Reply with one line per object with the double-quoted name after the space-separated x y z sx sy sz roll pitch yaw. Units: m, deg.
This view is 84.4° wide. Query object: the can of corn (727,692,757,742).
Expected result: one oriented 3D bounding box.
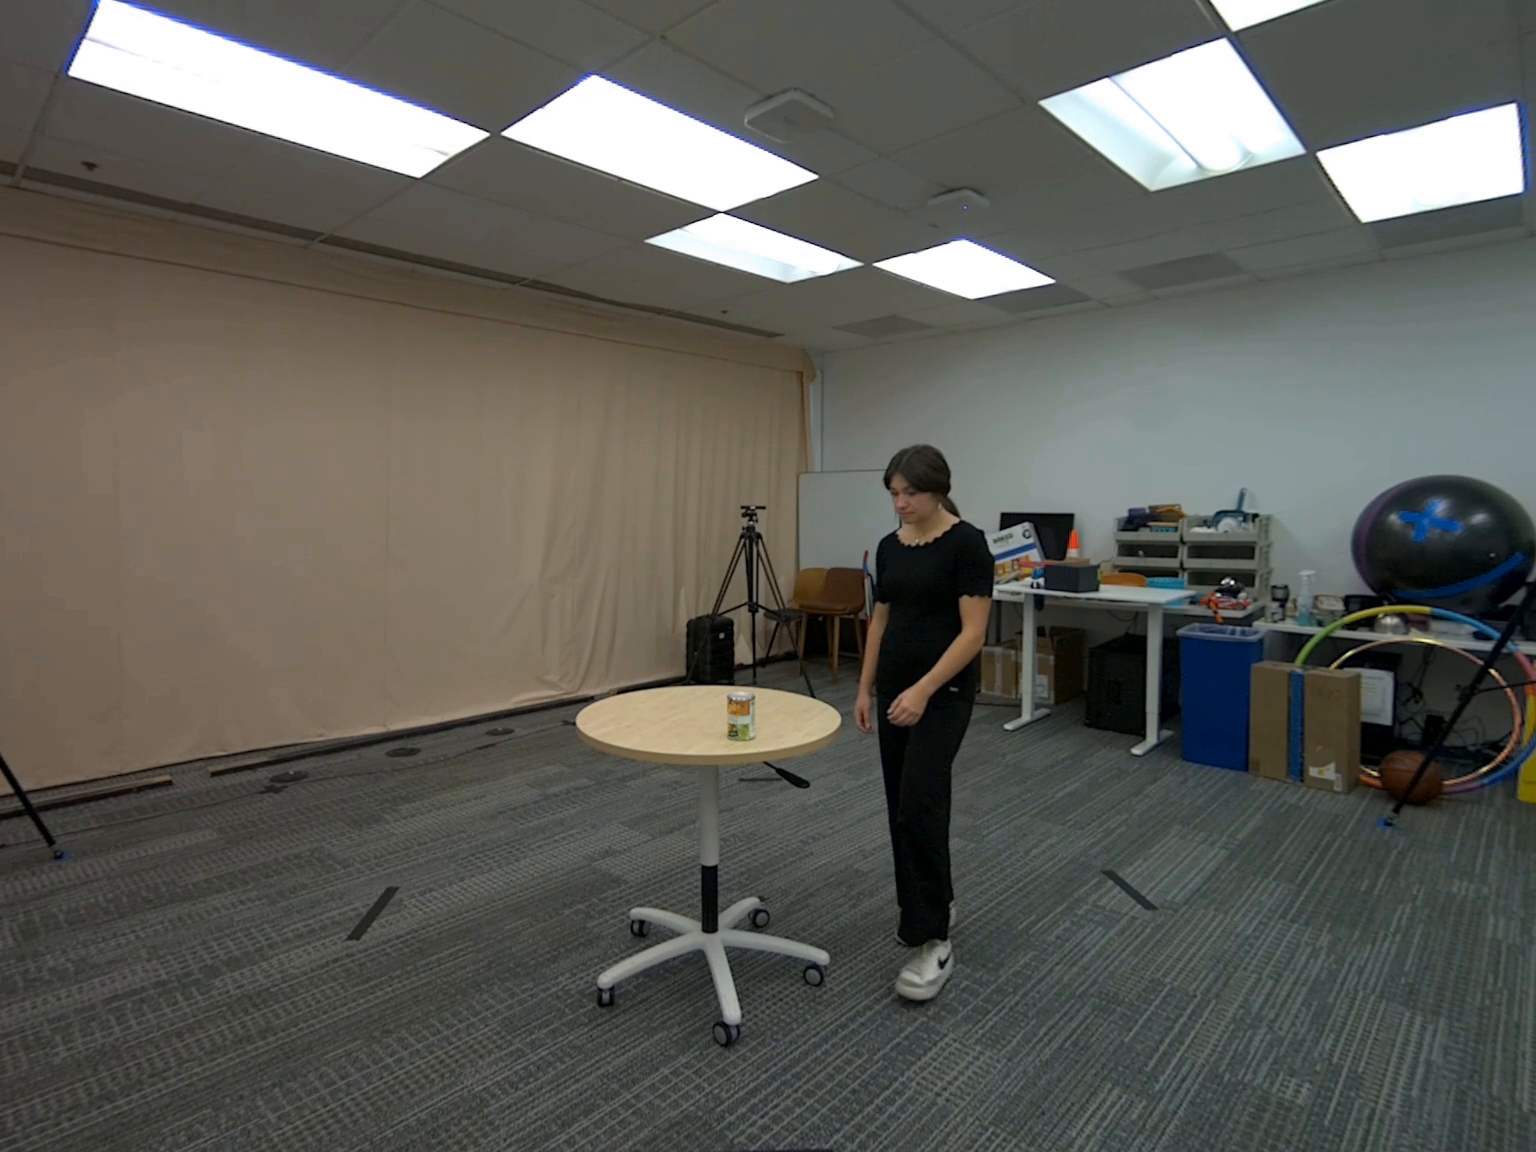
-0.063 0.371 2.222 0.074 0.111 0.074 0 4 -2 "can of corn"
